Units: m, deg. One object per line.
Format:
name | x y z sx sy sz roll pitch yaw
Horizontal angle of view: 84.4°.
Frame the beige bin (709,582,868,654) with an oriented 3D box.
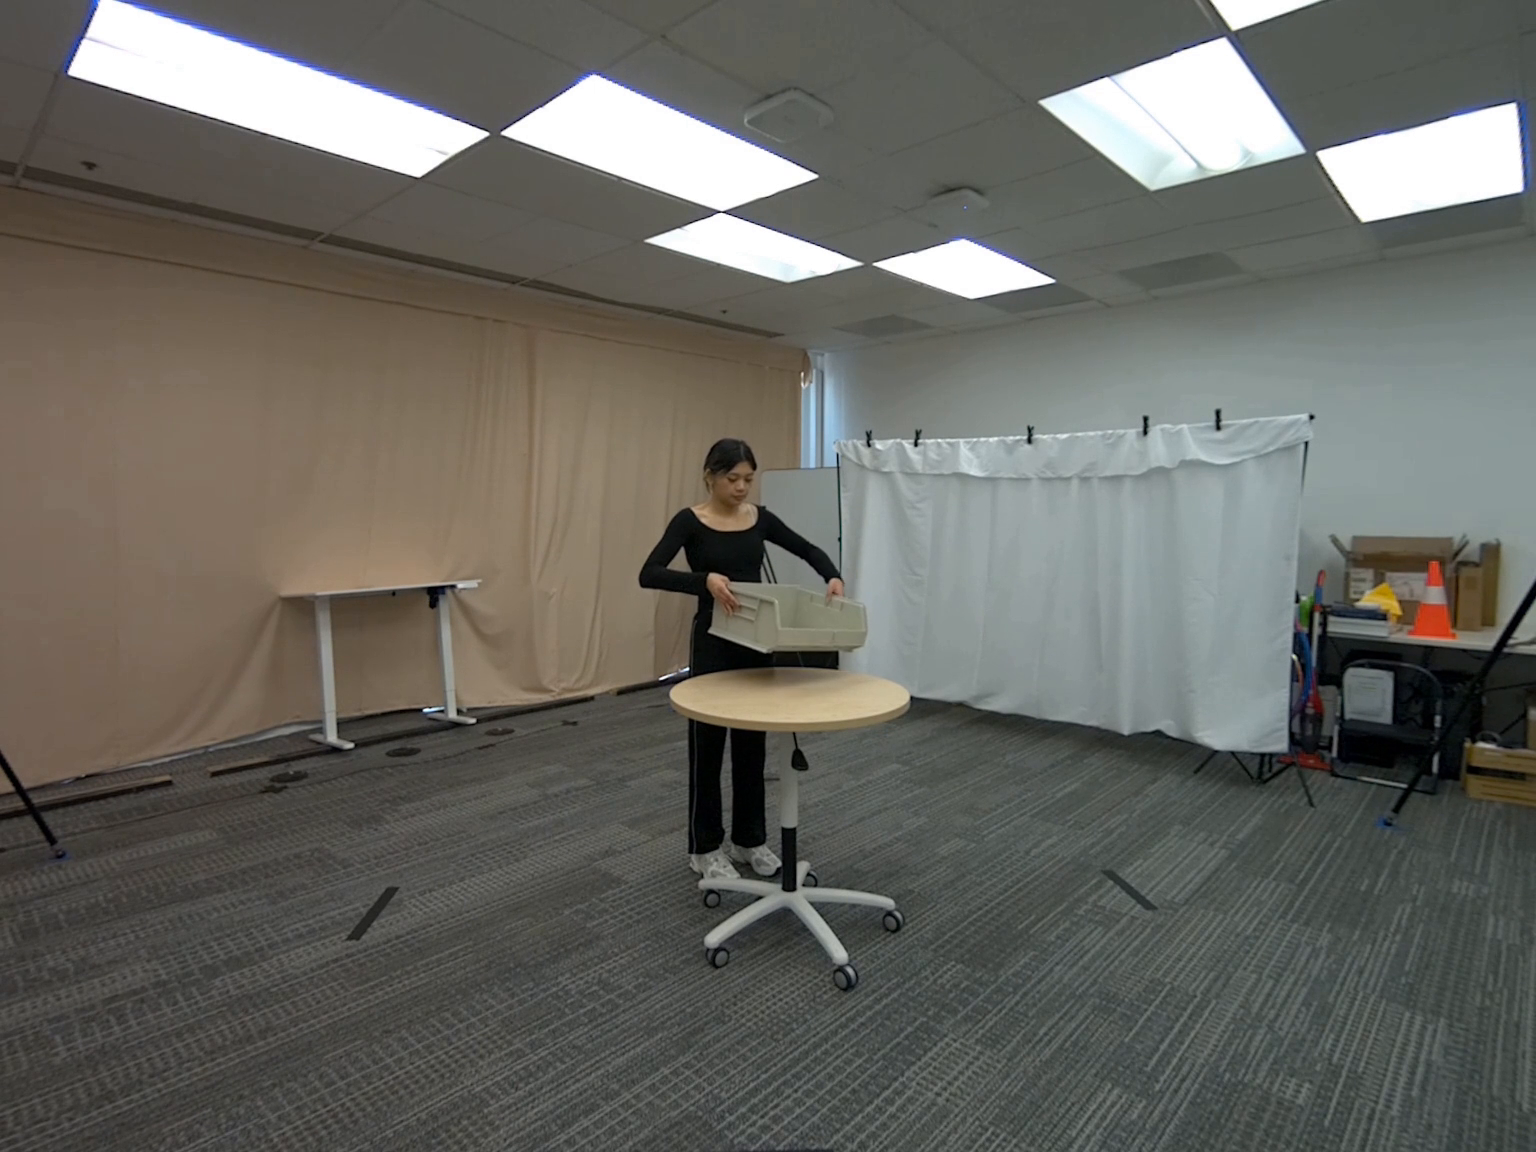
beige bin | 0.076 0.149 2.932 0.409 0.188 0.390 2 7 -40
